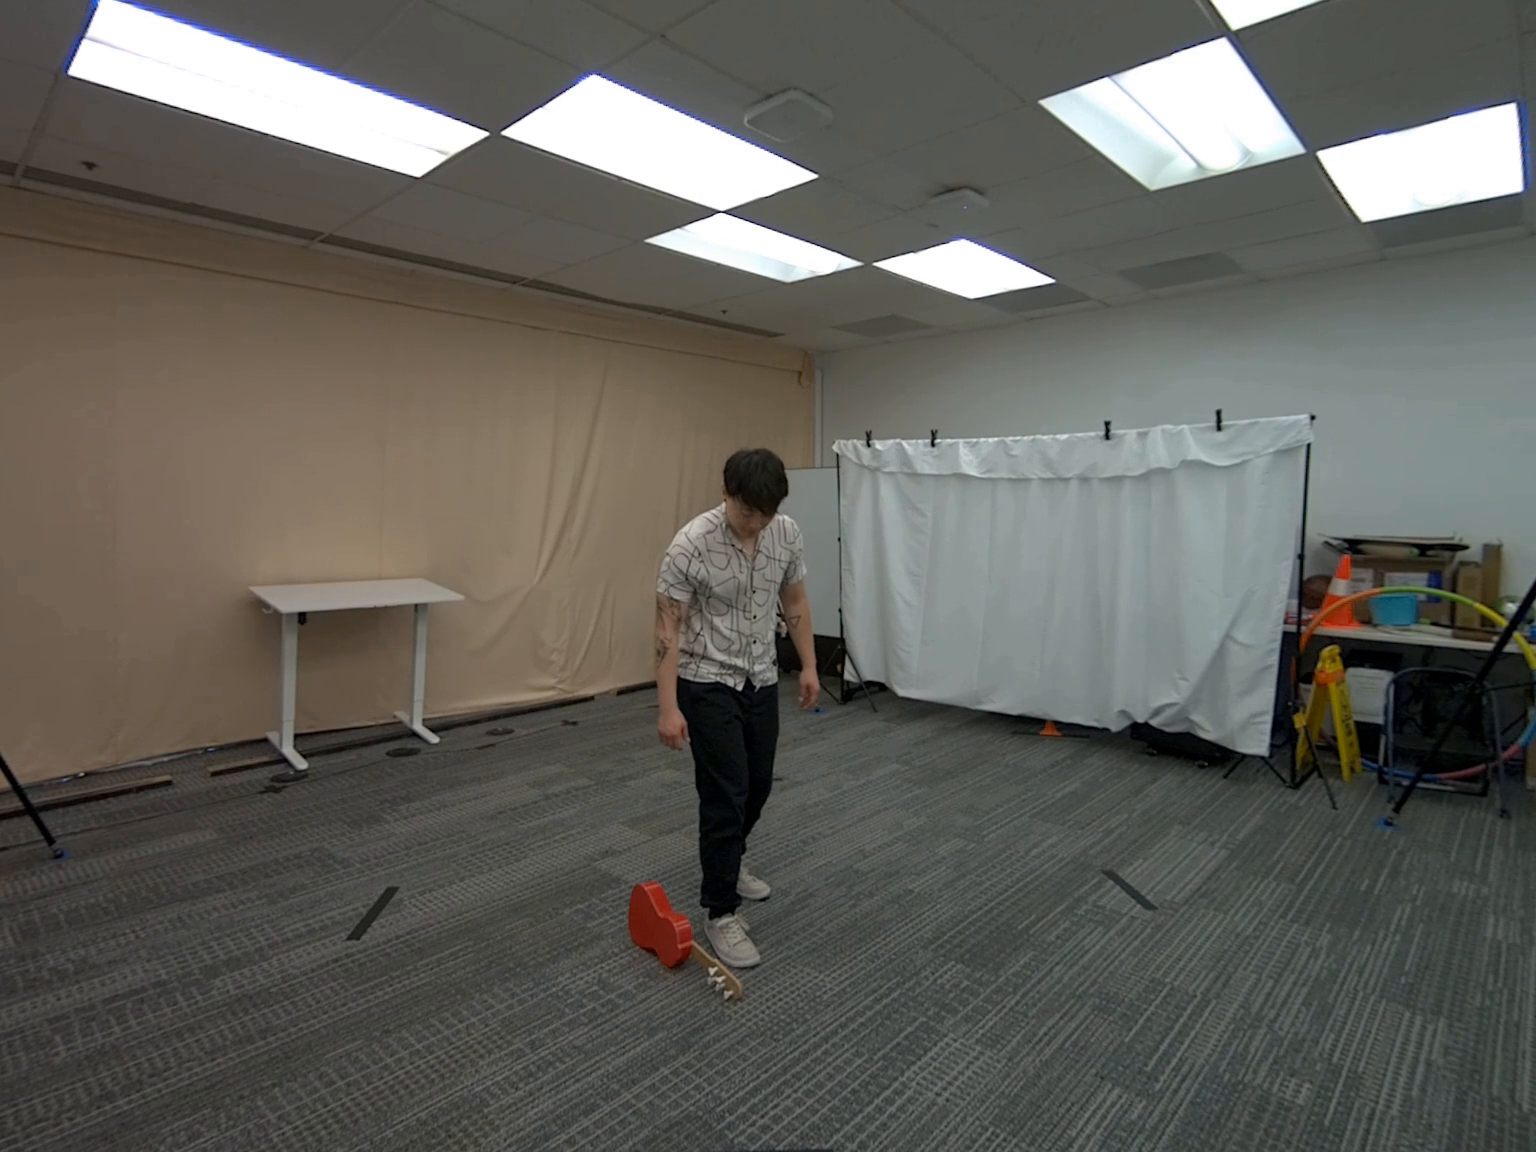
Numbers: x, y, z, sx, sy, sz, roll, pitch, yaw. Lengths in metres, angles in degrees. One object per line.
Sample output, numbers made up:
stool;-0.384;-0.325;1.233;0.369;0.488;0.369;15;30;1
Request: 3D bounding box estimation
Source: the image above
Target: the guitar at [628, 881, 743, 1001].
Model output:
guitar;-0.254;1.089;2.534;0.068;0.193;0.514;3;2;-41
